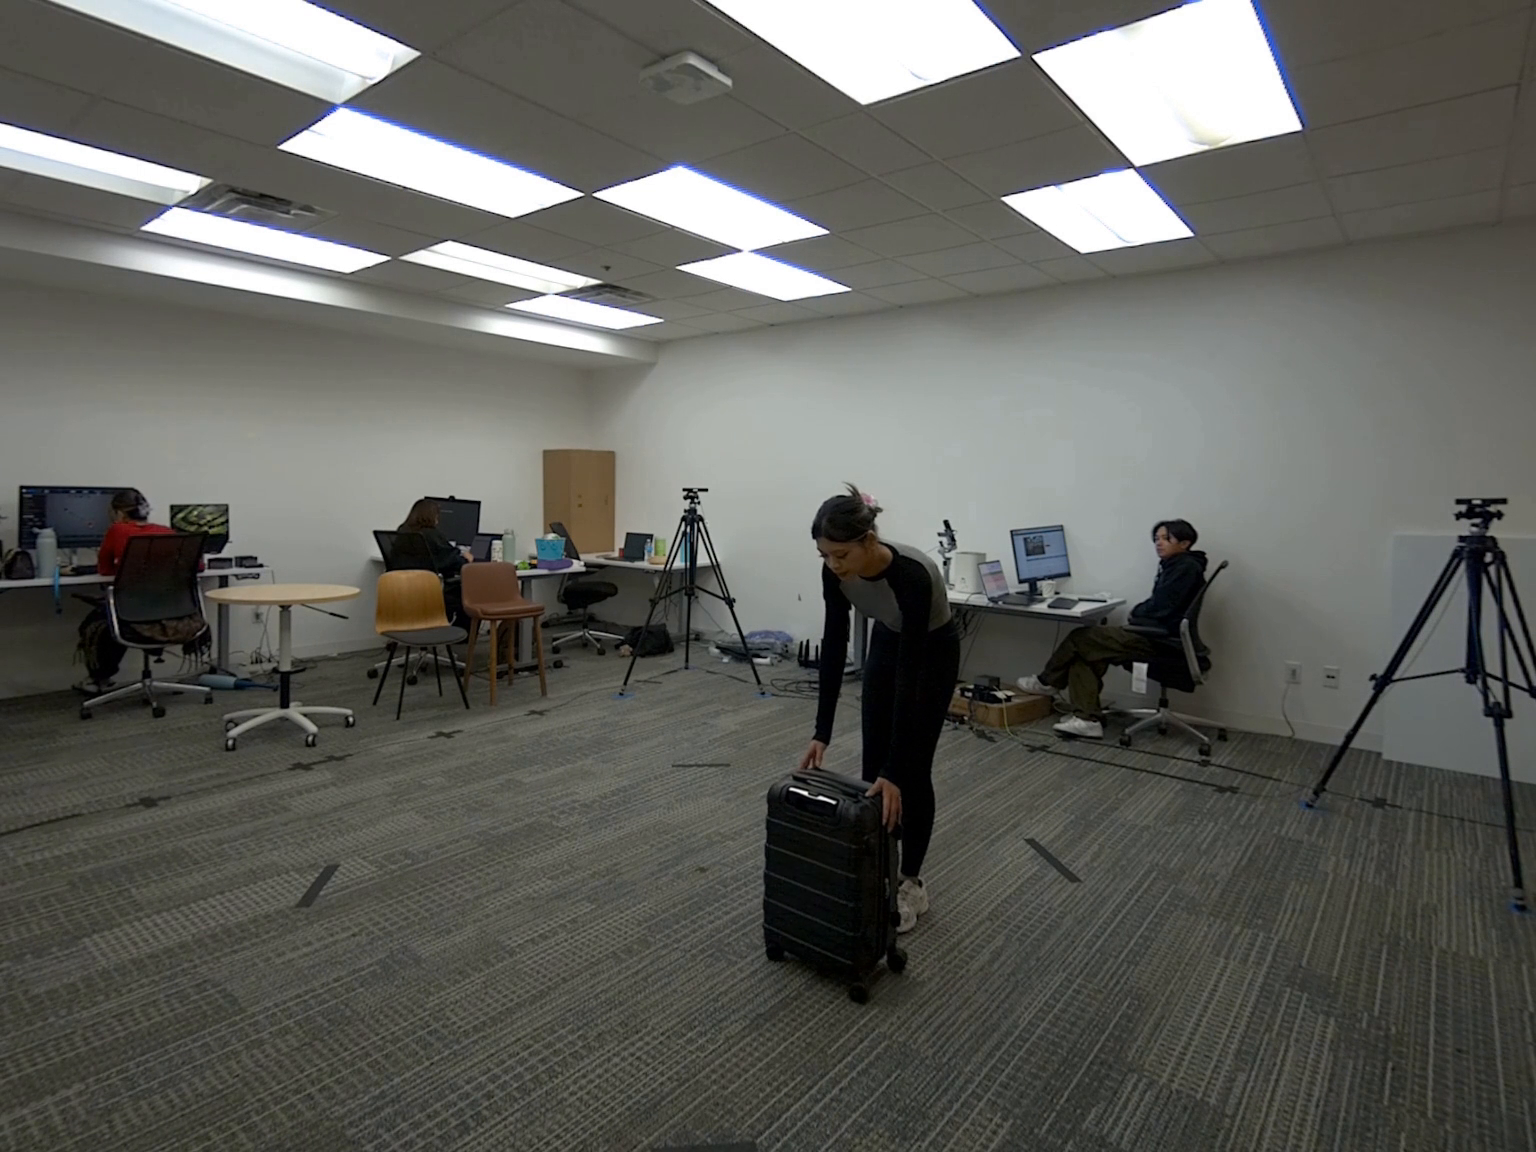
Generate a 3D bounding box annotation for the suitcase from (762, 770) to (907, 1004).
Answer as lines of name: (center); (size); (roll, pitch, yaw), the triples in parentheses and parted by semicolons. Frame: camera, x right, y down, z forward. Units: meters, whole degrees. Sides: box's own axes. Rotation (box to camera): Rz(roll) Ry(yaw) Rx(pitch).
suitcase: (0.180, 0.863, 2.498); (0.388, 0.548, 0.241); (3, 4, 40)
